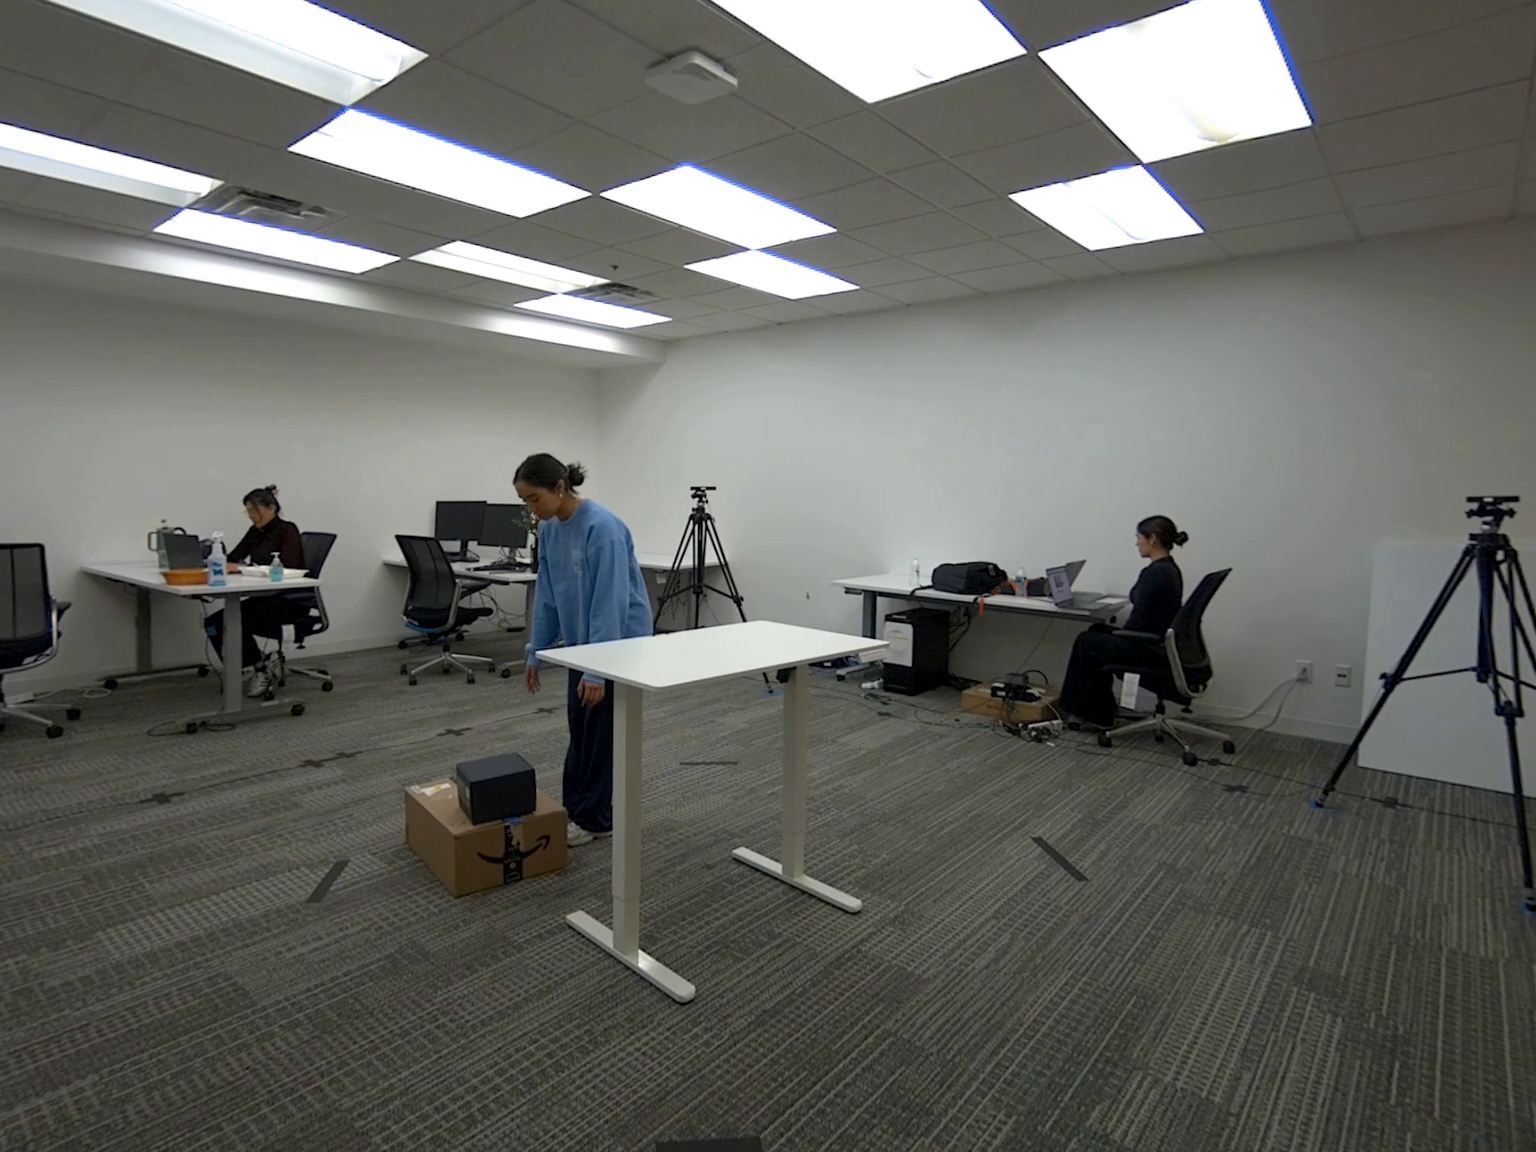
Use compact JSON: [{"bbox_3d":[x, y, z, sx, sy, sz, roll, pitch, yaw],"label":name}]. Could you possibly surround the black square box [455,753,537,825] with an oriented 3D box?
[{"bbox_3d":[-0.987,0.752,3.061,0.222,0.155,0.224,-6,8,-30],"label":"black square box"}]
